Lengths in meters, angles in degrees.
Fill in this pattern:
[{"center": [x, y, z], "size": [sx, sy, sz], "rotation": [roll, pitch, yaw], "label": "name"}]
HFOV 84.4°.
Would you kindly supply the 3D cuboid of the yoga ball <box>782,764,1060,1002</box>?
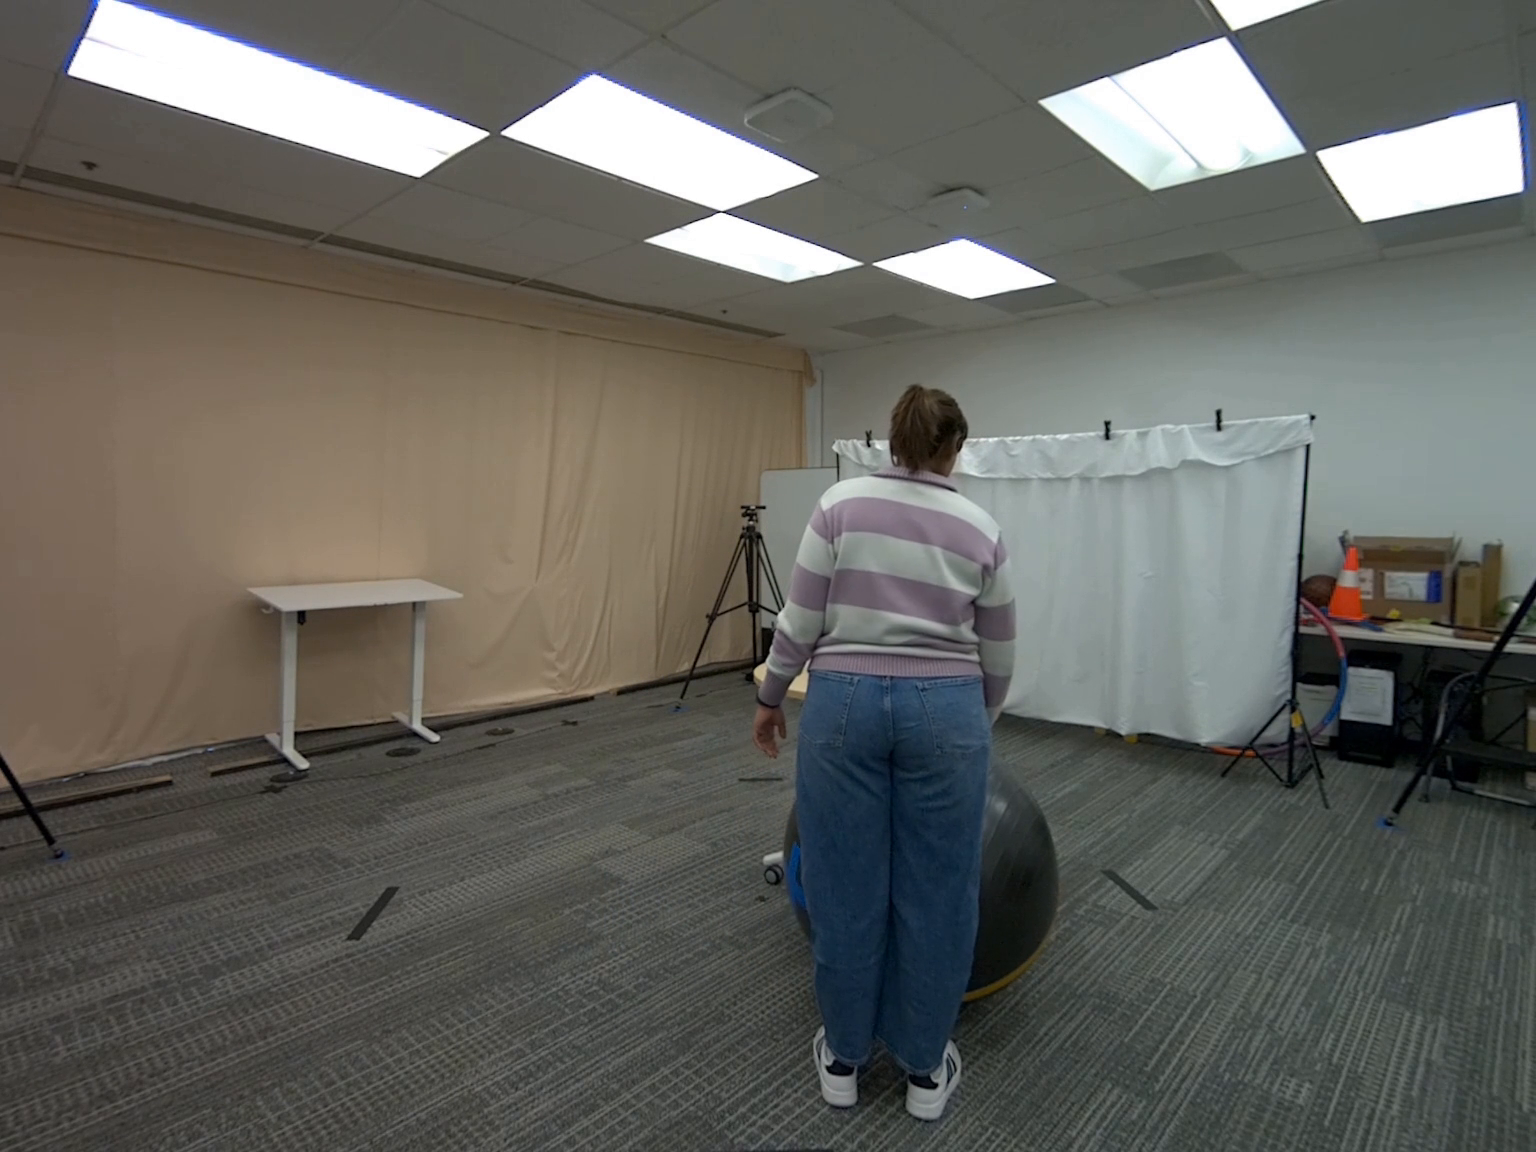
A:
[{"center": [0.433, 0.819, 2.417], "size": [0.757, 0.756, 0.760], "rotation": [0, 4, -2], "label": "yoga ball"}]
